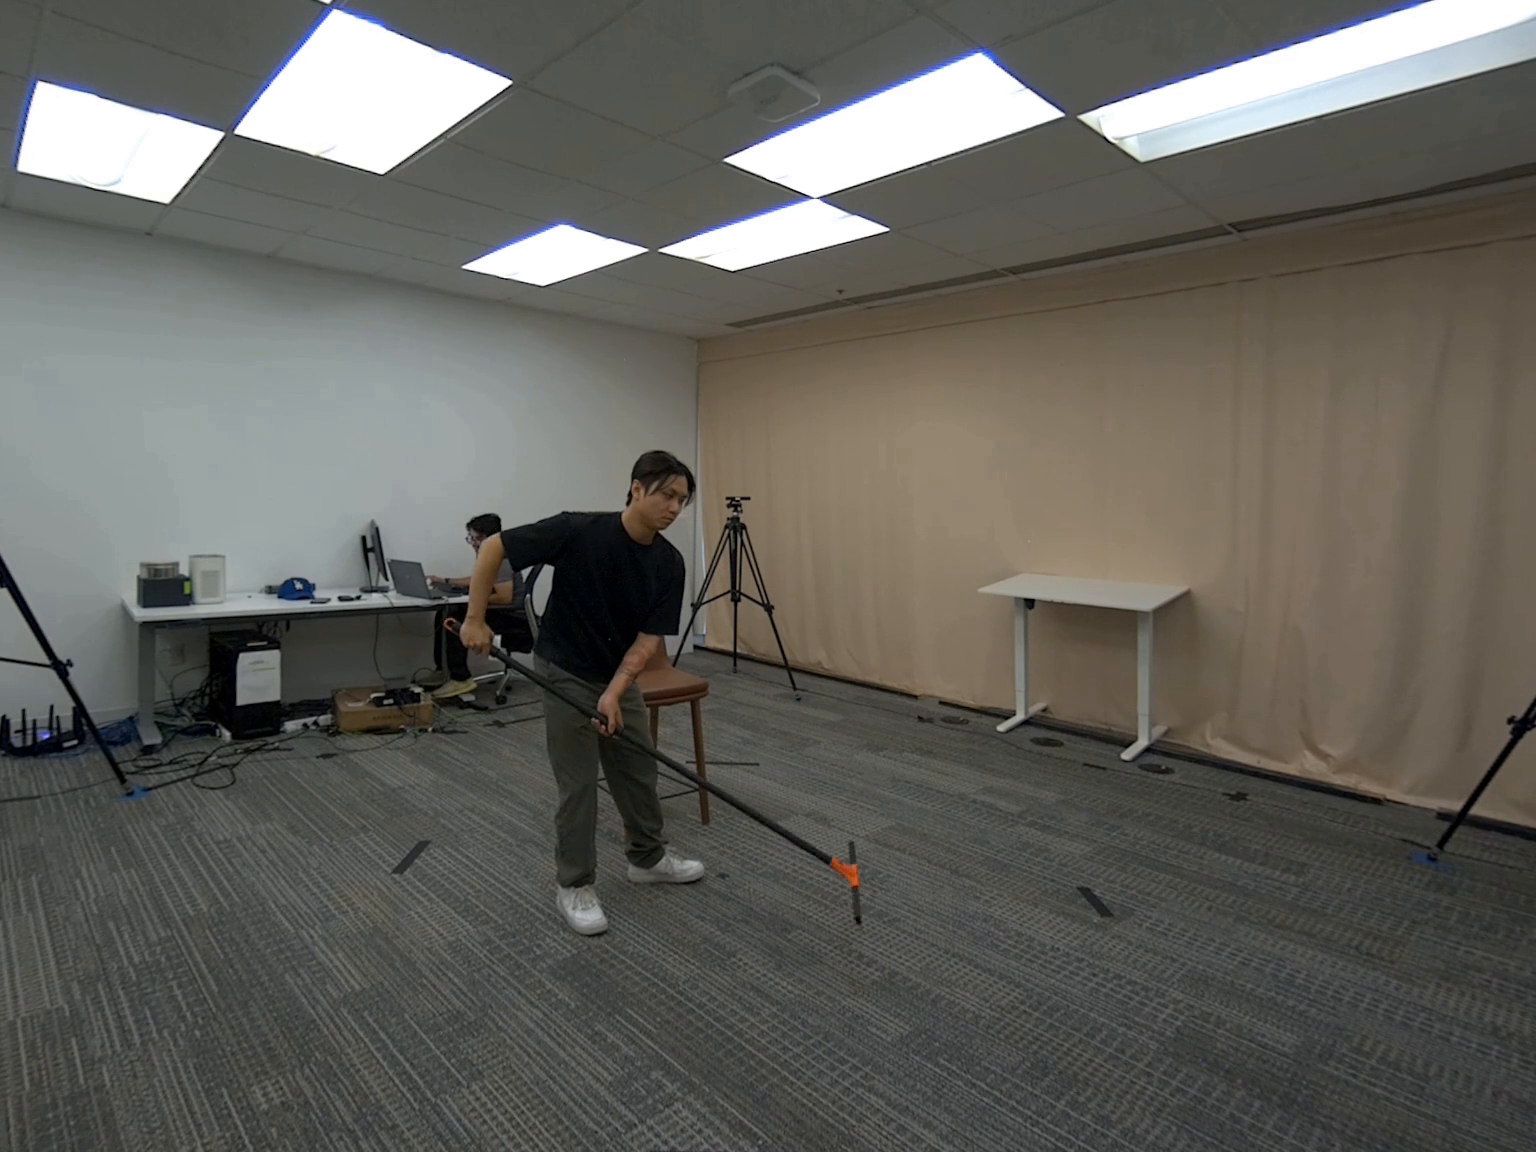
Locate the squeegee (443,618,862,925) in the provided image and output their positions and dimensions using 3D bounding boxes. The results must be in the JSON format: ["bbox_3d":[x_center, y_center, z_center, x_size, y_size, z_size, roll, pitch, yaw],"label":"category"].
[{"bbox_3d":[-0.351,0.550,2.647,1.538,0.053,0.438,32,14,0],"label":"squeegee"}]
